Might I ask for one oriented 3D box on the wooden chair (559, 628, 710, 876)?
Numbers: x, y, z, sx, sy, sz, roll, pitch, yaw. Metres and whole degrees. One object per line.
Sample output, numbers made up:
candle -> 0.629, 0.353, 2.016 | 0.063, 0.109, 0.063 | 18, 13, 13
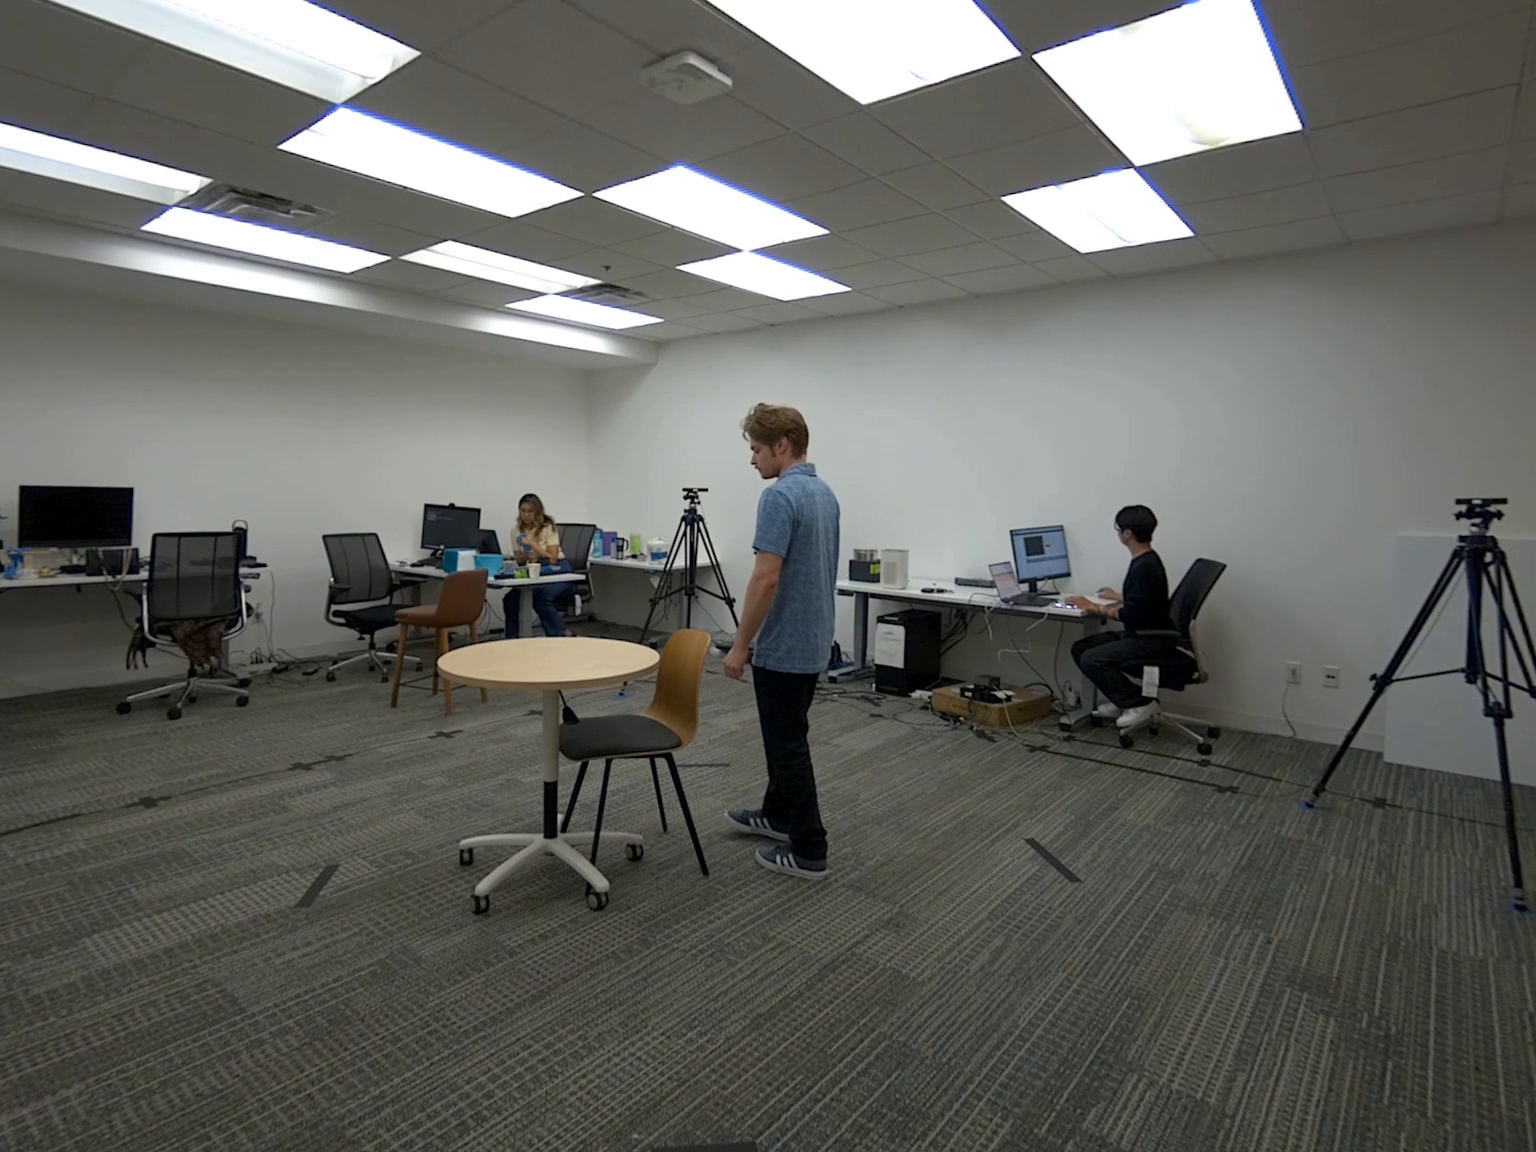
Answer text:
wooden chair -> -0.523, 0.631, 3.150 | 0.510, 0.876, 0.491 | 4, 2, -26
